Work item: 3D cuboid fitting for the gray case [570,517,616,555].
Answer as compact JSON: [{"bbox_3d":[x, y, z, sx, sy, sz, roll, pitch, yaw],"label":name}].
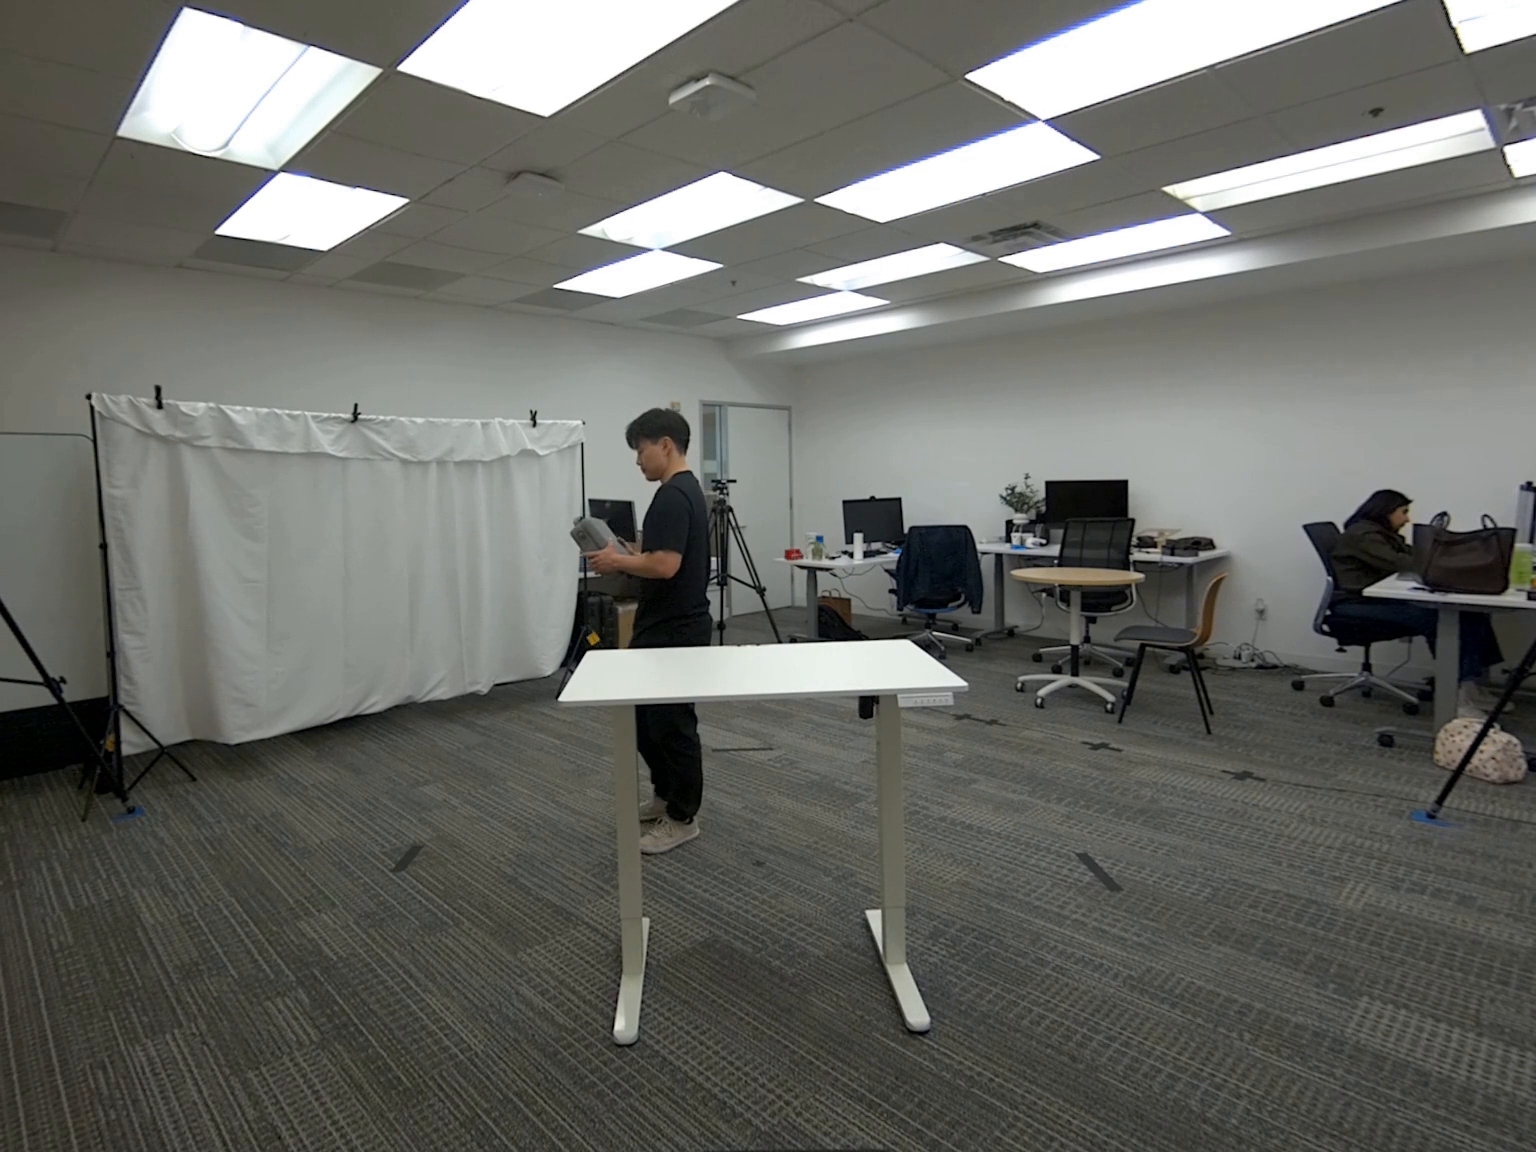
[{"bbox_3d":[-0.630,-0.105,3.297,0.104,0.262,0.255,-38,-4,3],"label":"gray case"}]
